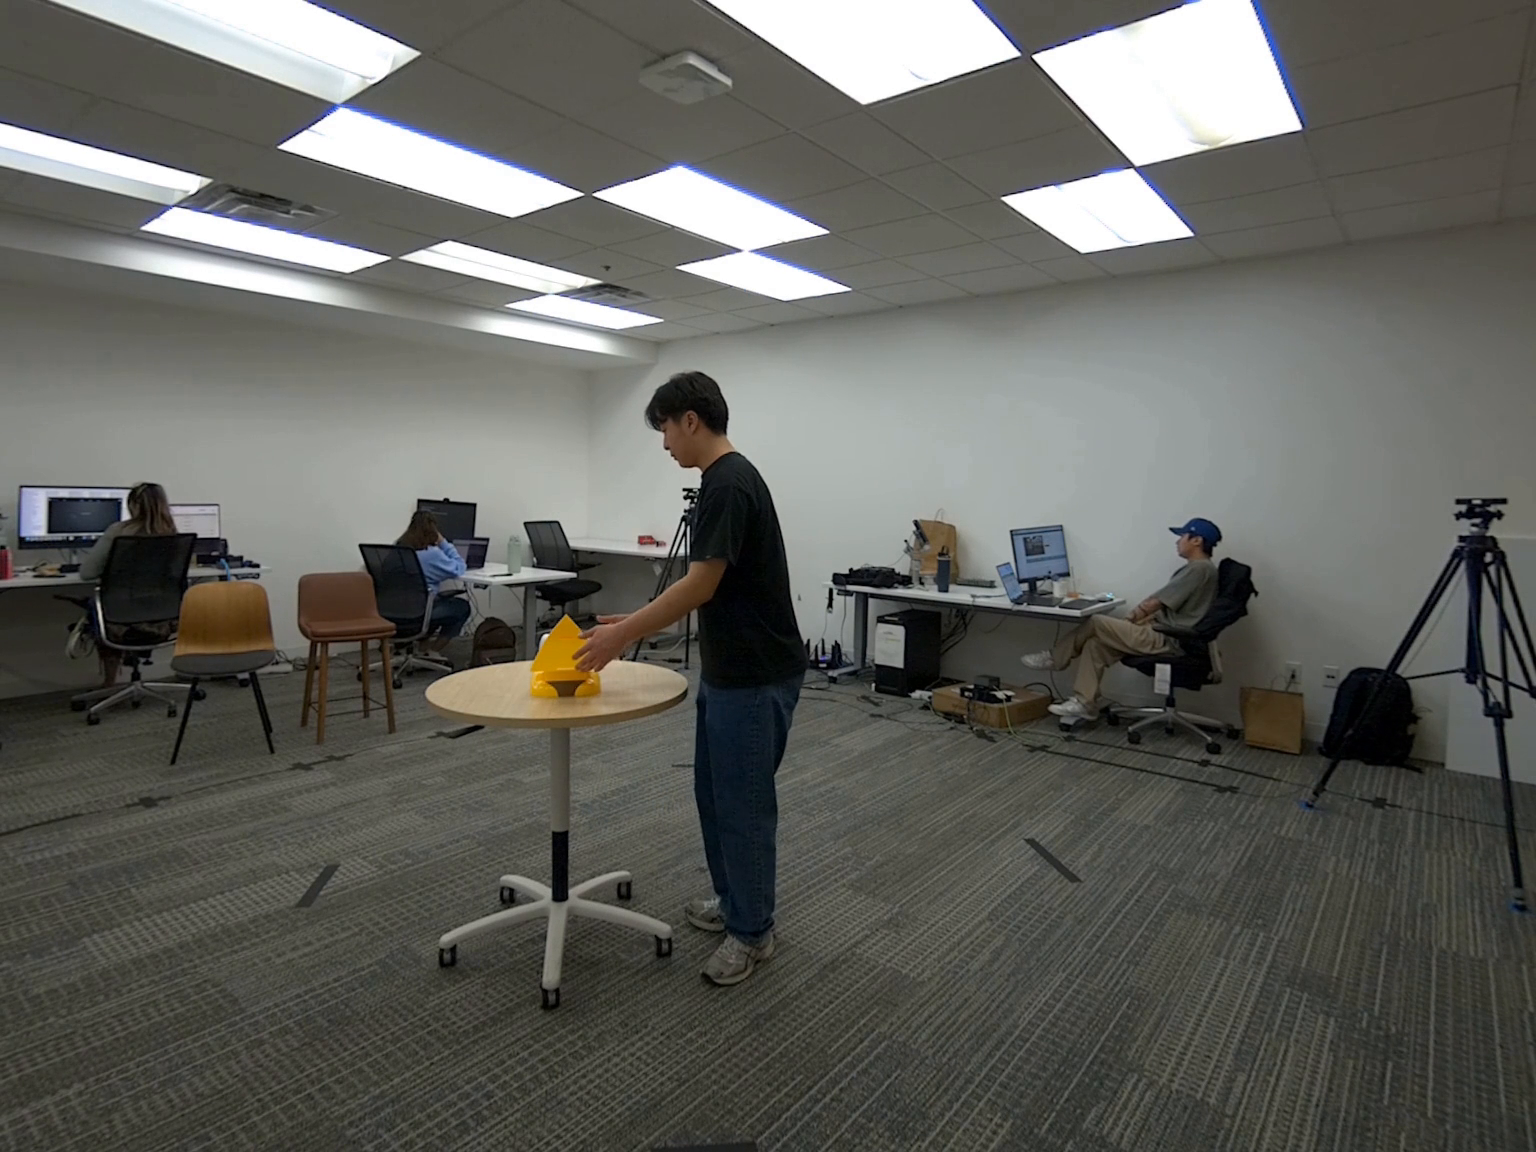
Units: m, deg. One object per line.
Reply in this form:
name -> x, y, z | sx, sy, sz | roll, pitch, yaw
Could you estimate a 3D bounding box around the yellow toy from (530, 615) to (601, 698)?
yellow toy -> -0.596, 0.217, 2.459 | 0.202, 0.230, 0.197 | 0, 5, -14
